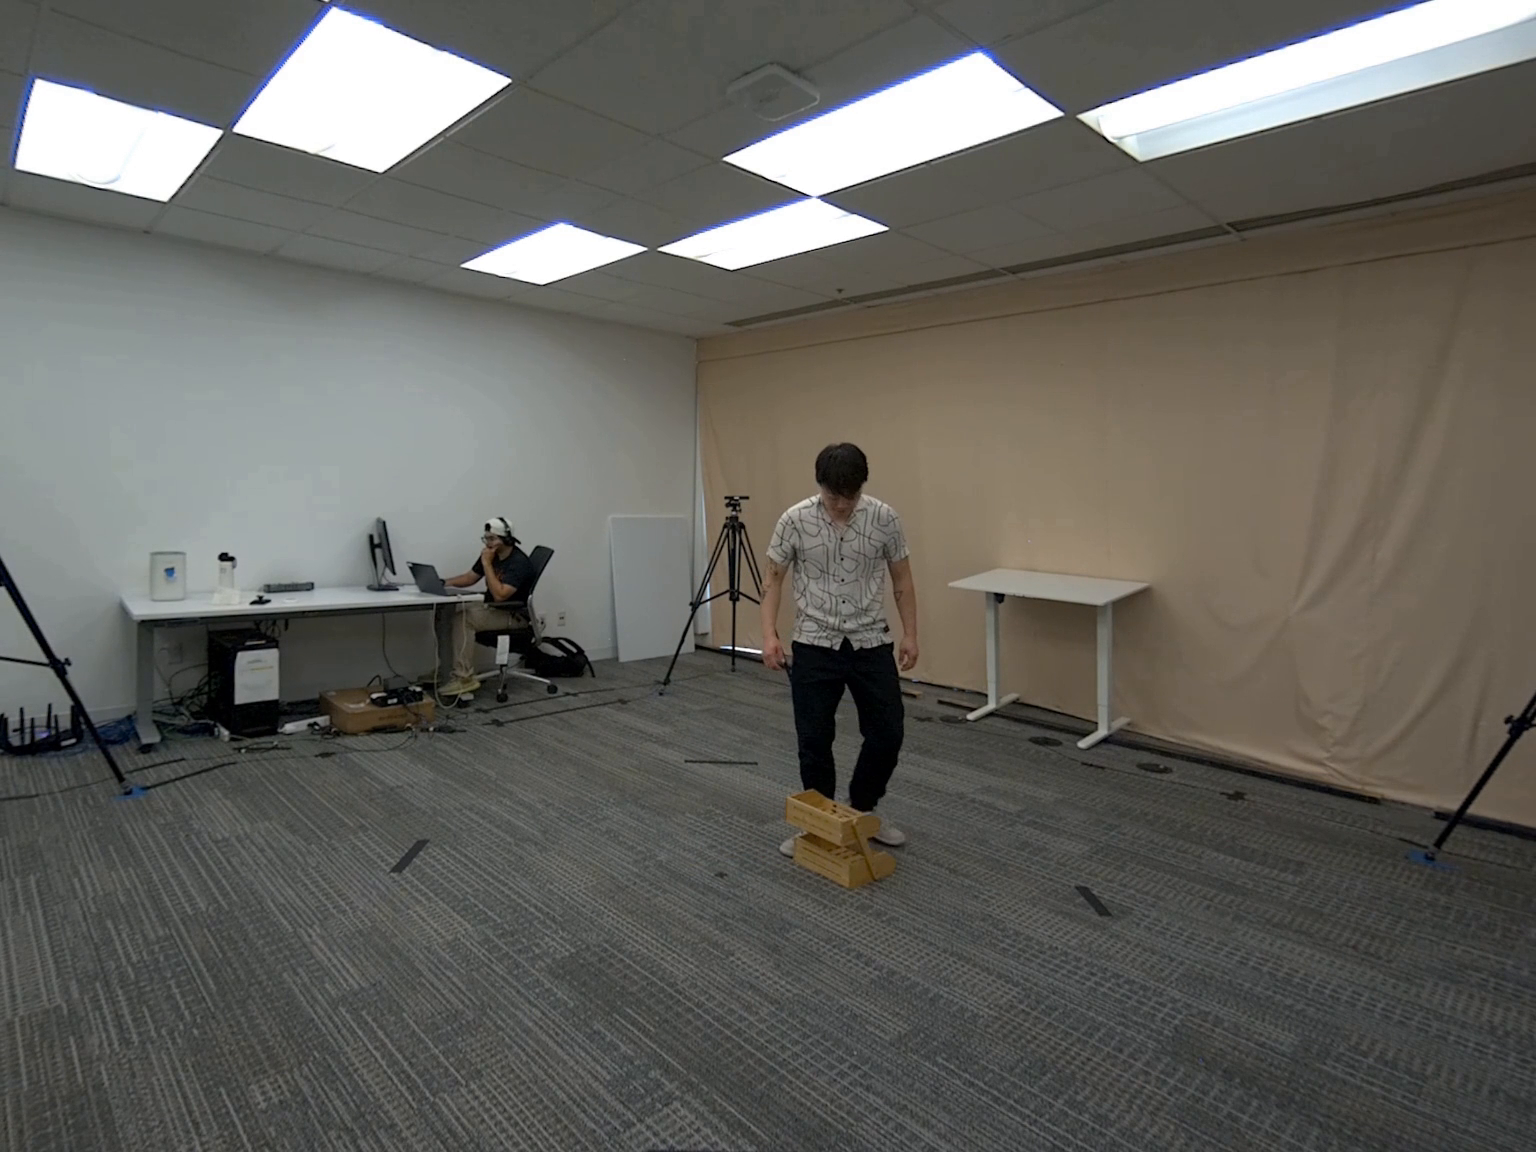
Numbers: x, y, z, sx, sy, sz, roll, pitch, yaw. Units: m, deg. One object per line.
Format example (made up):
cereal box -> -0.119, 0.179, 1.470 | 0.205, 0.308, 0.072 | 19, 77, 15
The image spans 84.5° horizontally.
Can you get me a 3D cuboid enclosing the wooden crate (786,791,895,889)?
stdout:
wooden crate -> 0.269, 0.970, 3.183 | 0.295, 0.272, 0.333 | -3, 6, -40
